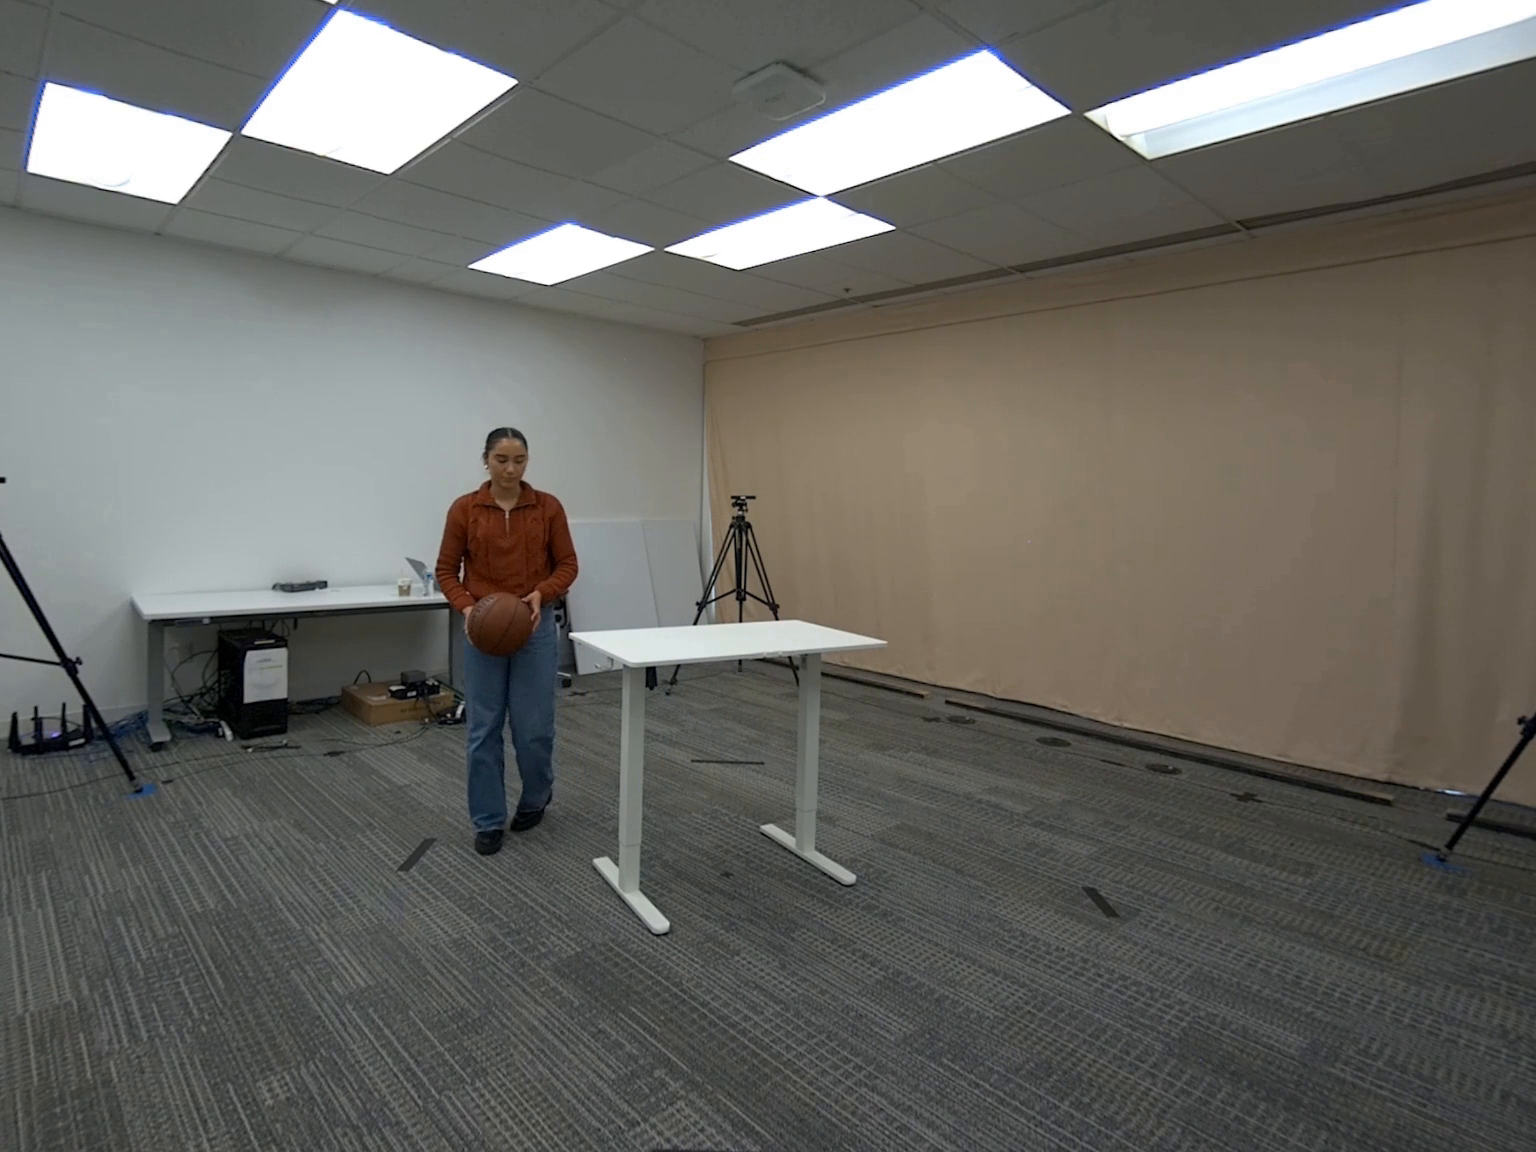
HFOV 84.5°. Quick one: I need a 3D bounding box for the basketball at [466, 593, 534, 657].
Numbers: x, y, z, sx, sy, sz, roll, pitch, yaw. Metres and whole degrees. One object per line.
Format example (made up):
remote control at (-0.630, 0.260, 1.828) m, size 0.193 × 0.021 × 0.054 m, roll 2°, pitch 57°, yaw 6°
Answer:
basketball at (-0.988, 0.175, 3.118) m, size 0.236 × 0.235 × 0.237 m, roll 1°, pitch 4°, yaw -1°
